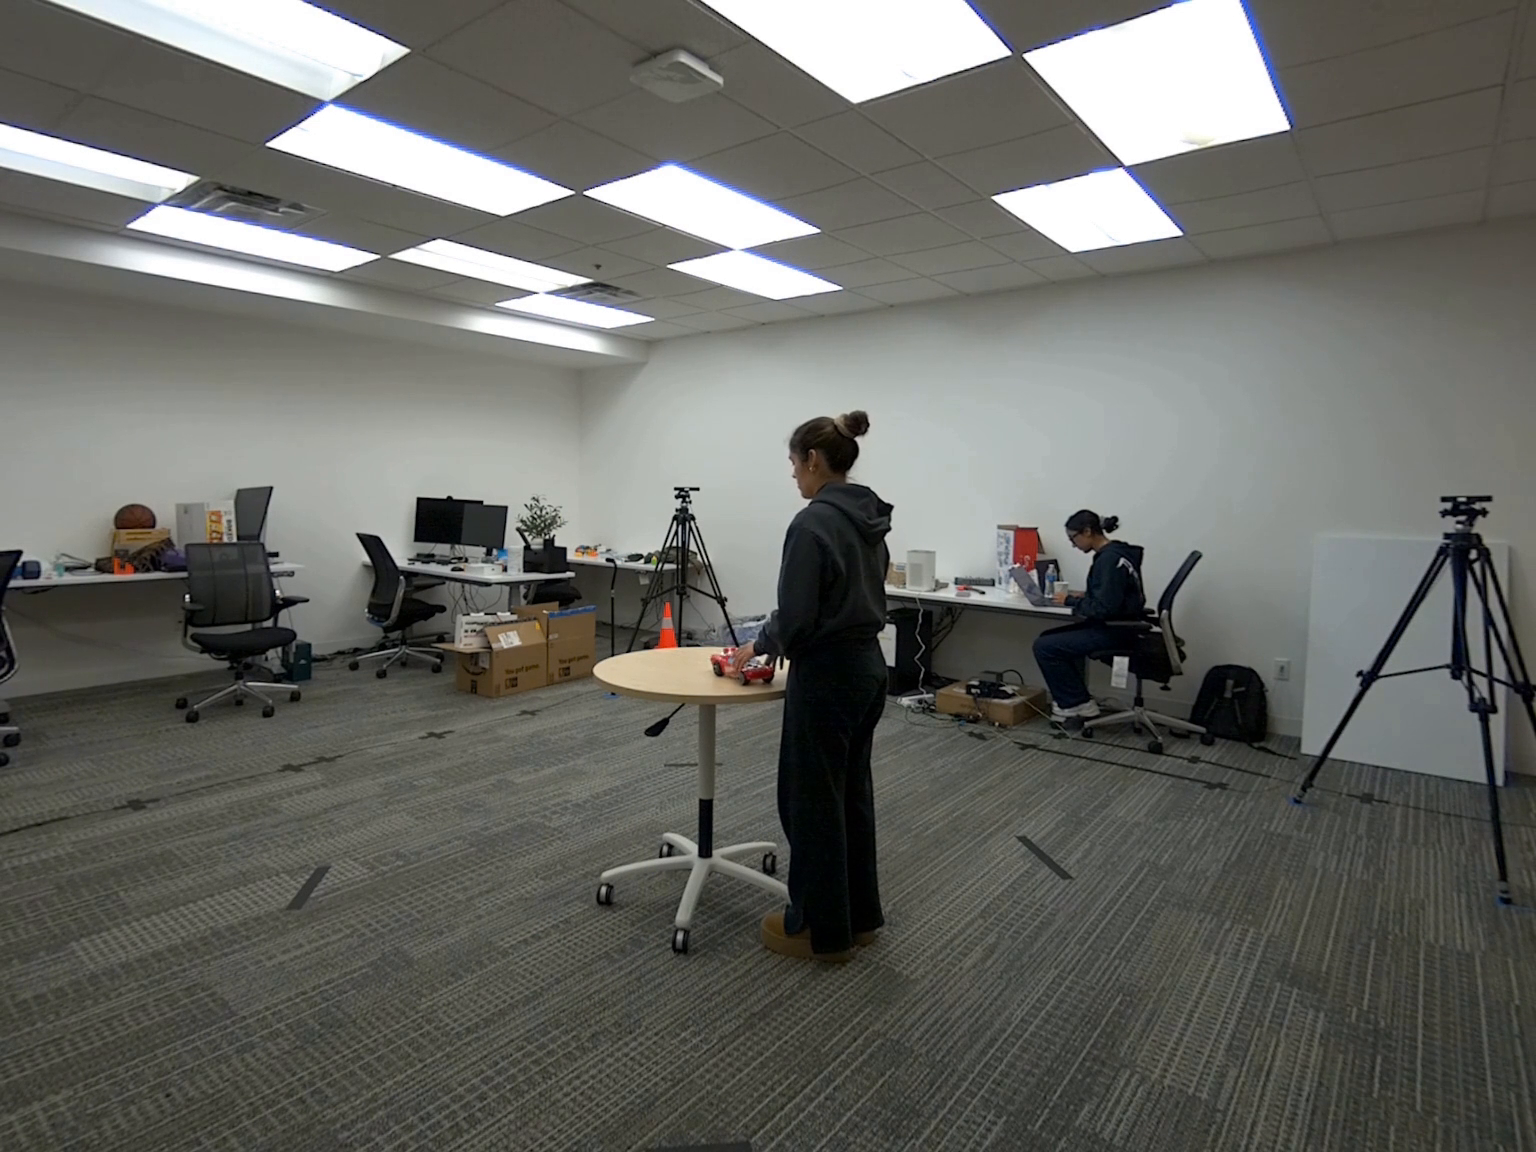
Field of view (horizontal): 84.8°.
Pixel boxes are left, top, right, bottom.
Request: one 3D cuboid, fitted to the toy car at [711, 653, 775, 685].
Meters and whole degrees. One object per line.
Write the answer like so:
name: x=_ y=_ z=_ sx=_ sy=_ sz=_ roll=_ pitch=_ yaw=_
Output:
toy car: x=-0.094 y=0.293 z=2.728 sx=0.127 sy=0.082 sz=0.265 roll=-4 pitch=20 yaw=-31
